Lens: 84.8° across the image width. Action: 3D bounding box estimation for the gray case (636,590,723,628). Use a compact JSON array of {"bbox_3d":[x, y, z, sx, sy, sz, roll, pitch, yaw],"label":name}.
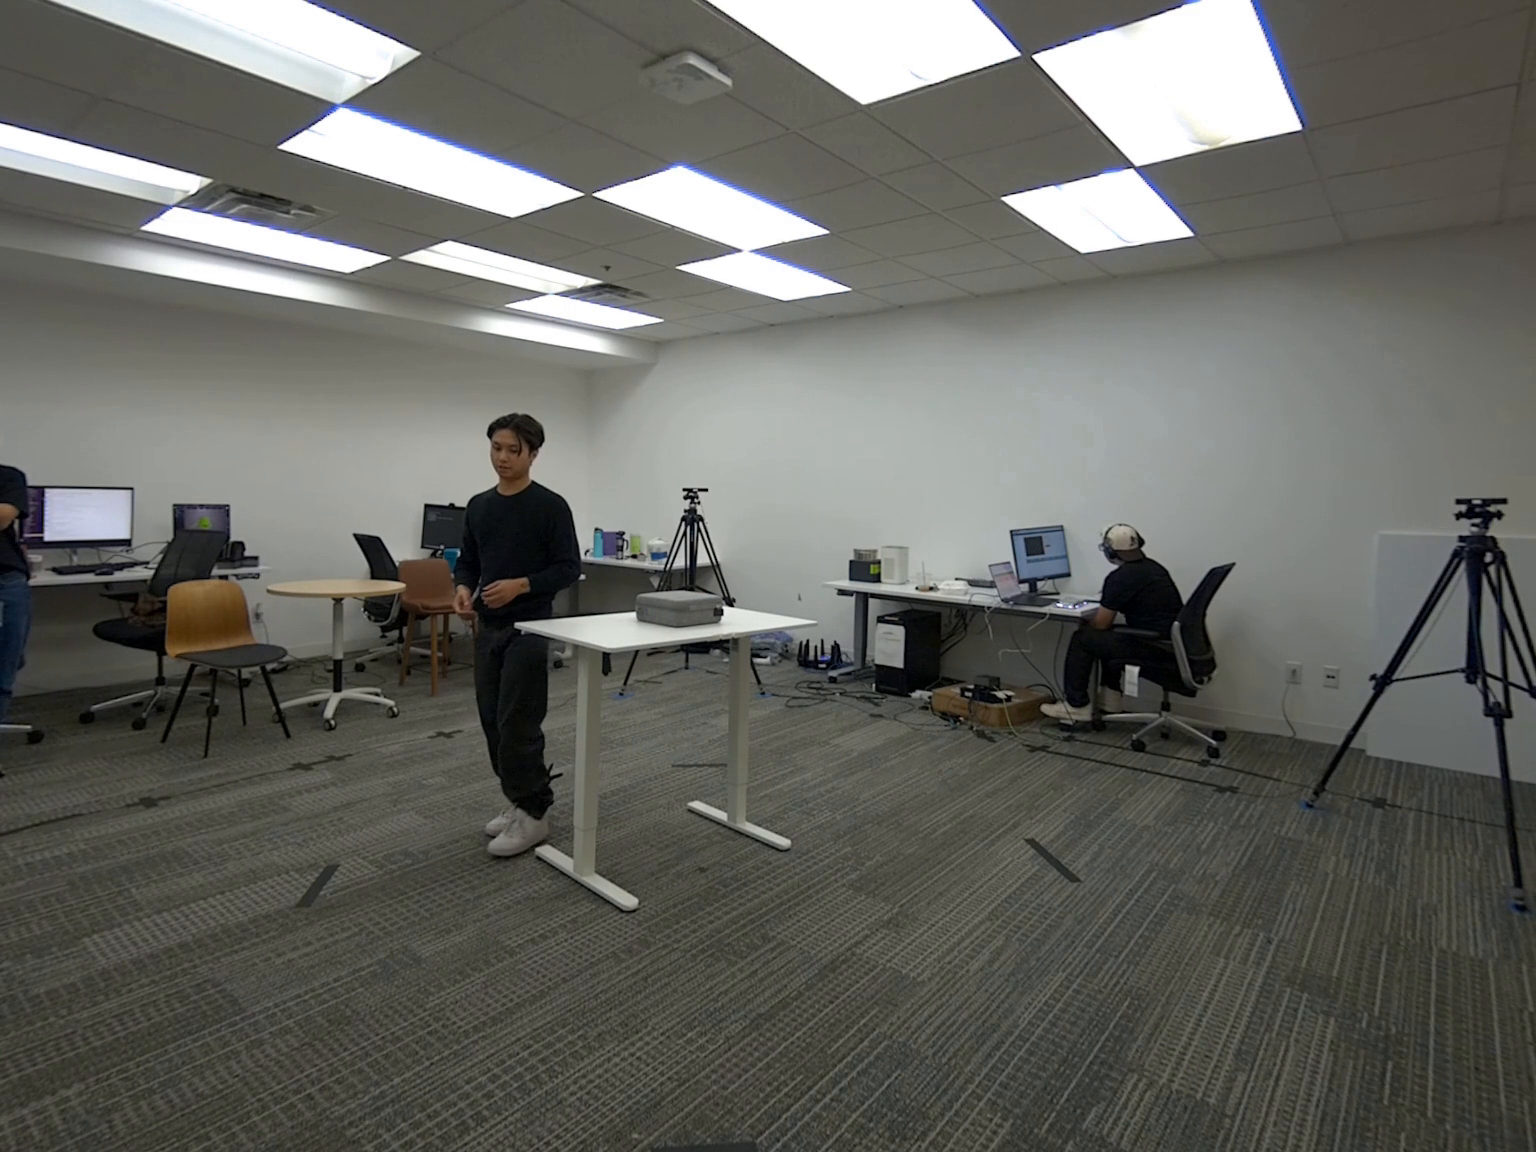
[{"bbox_3d":[-0.354,0.117,3.240,0.249,0.104,0.270,-5,8,-44],"label":"gray case"}]
